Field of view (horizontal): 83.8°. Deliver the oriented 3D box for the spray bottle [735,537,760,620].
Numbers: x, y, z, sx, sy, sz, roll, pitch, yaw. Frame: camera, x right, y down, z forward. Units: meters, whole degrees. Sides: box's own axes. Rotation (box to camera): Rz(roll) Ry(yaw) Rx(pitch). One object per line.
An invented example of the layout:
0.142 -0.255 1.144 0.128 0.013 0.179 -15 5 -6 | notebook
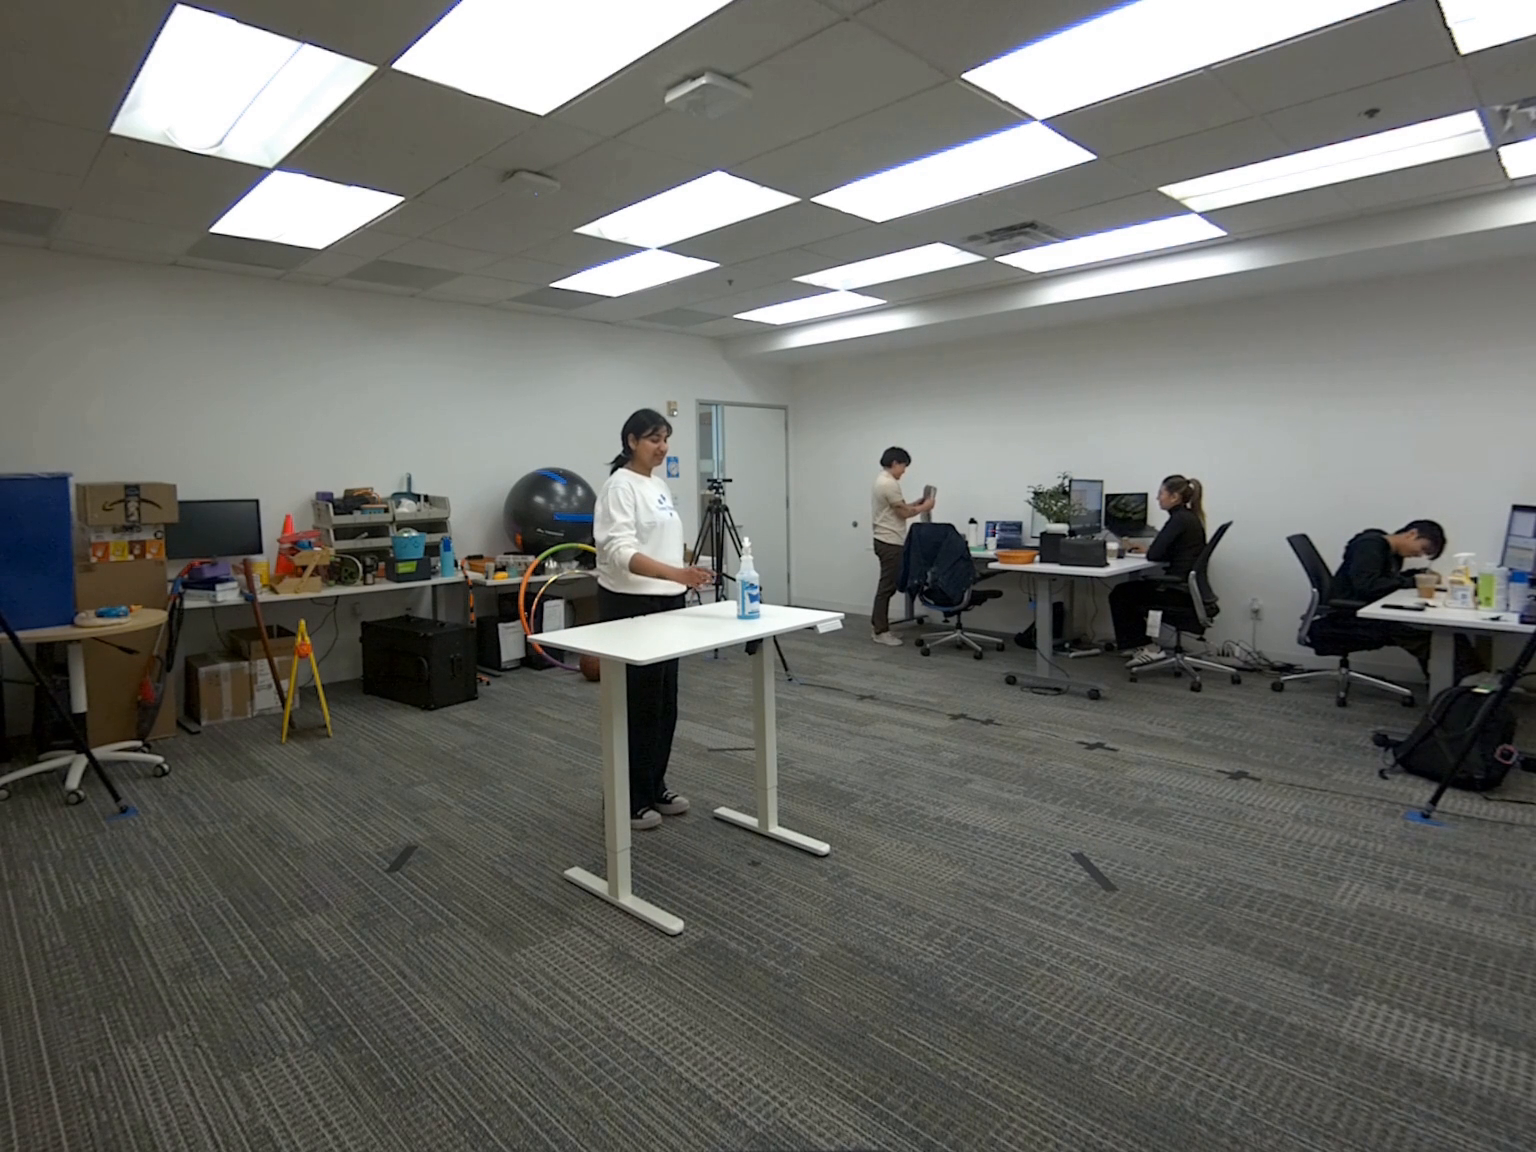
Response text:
-0.073 0.008 3.161 0.089 0.296 0.088 2 4 26 | spray bottle
